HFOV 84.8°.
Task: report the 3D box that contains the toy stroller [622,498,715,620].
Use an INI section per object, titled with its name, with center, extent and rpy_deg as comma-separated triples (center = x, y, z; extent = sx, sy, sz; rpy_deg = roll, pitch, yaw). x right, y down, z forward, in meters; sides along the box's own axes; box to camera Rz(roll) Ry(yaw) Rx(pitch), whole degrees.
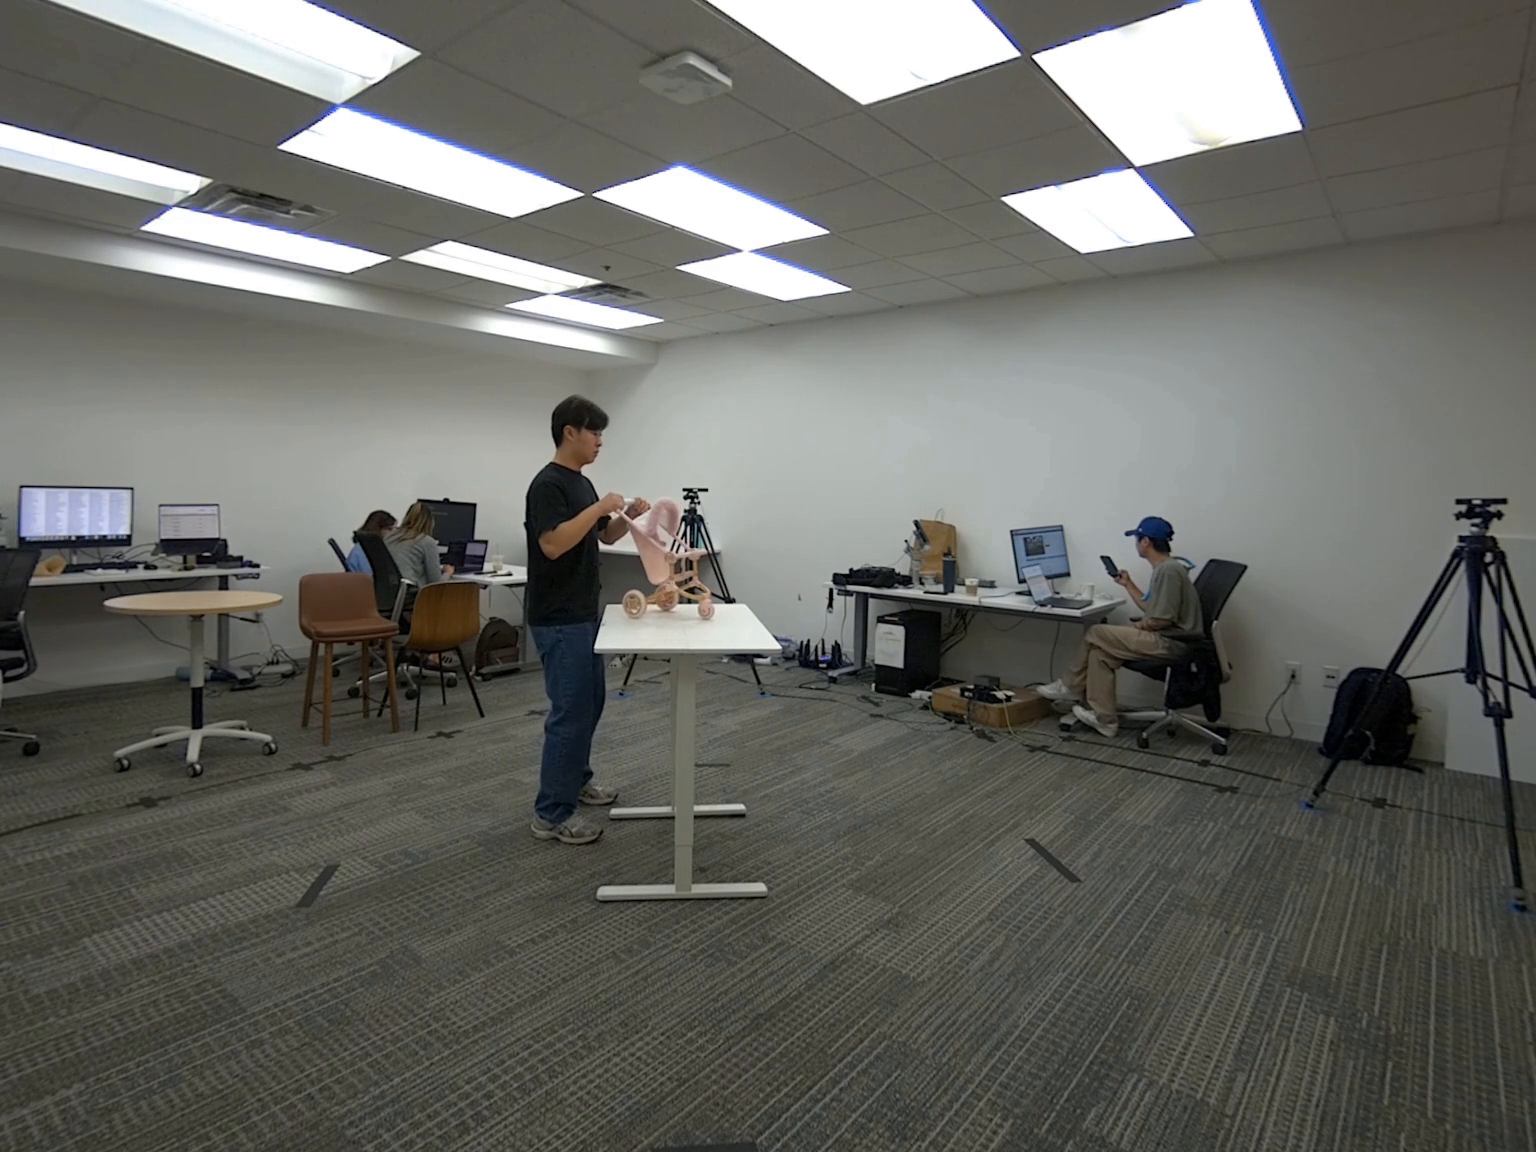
[toy stroller]
center = -0.412, -0.071, 3.362
extent = 0.349, 0.537, 0.274
rpy_deg = -12, -3, 30
